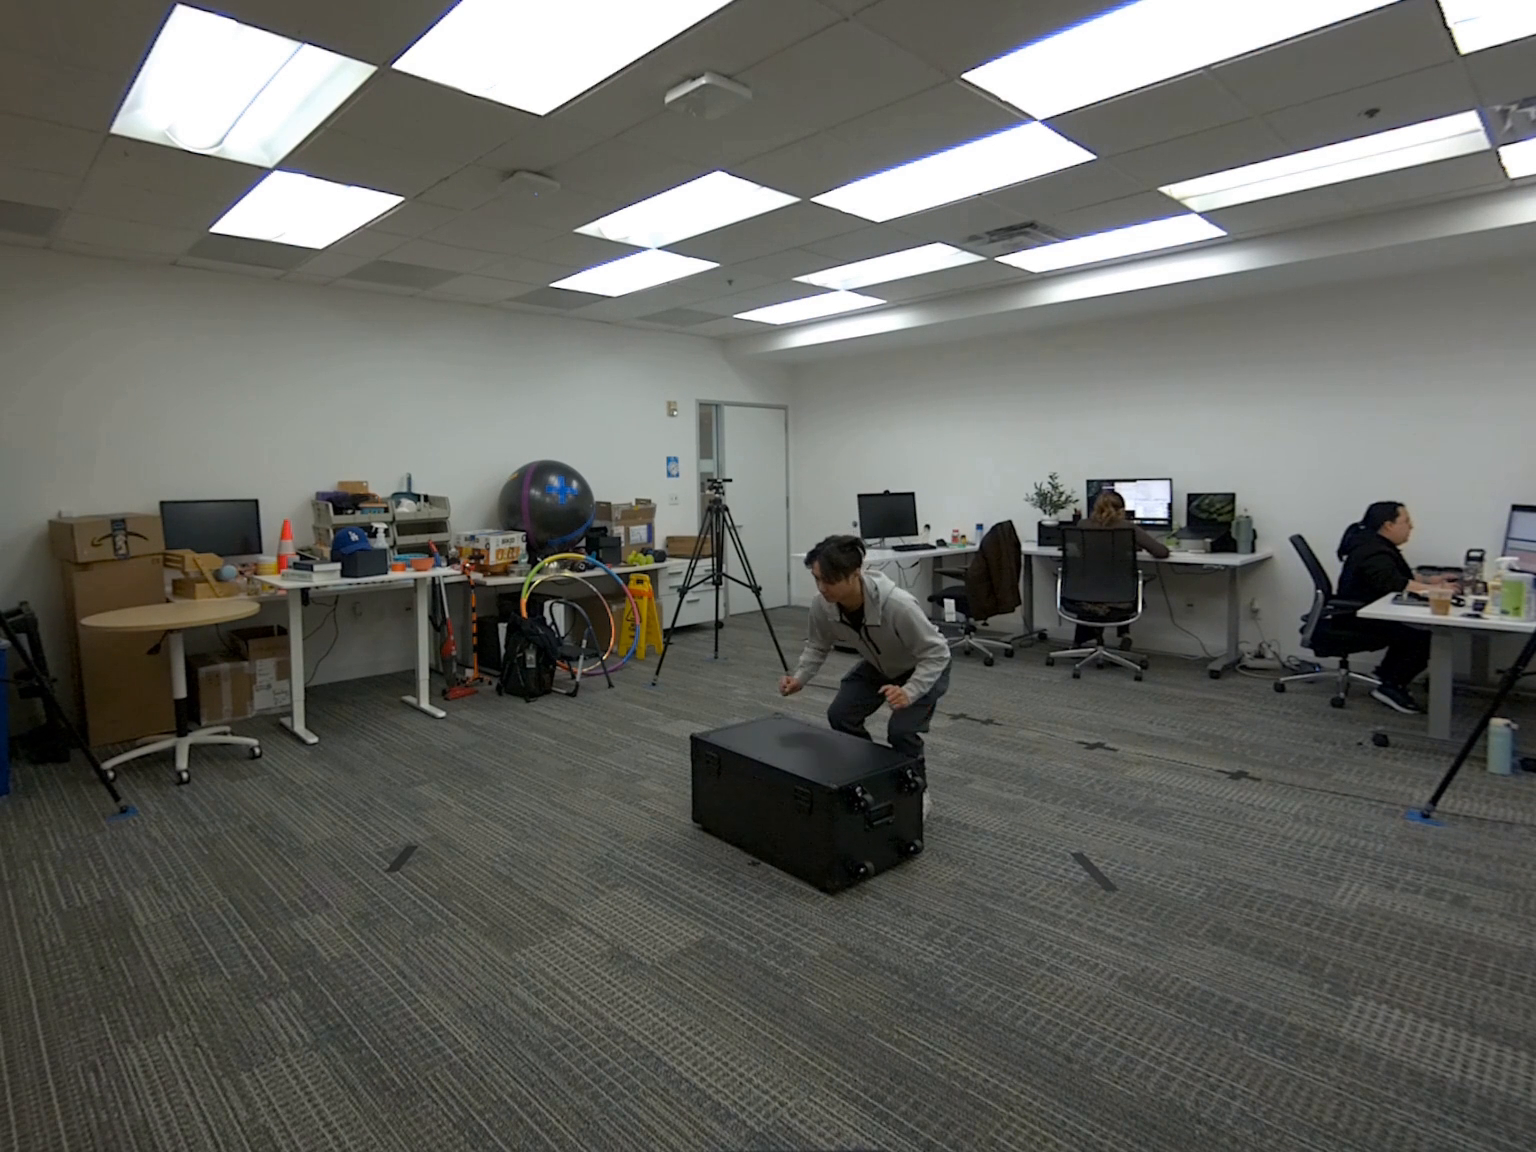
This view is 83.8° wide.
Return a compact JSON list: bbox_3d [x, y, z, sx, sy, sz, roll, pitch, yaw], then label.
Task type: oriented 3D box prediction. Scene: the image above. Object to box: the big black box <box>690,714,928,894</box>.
[{"bbox_3d":[0.150,0.834,3.248,0.507,0.395,0.888,-5,7,-42],"label":"big black box"}]
